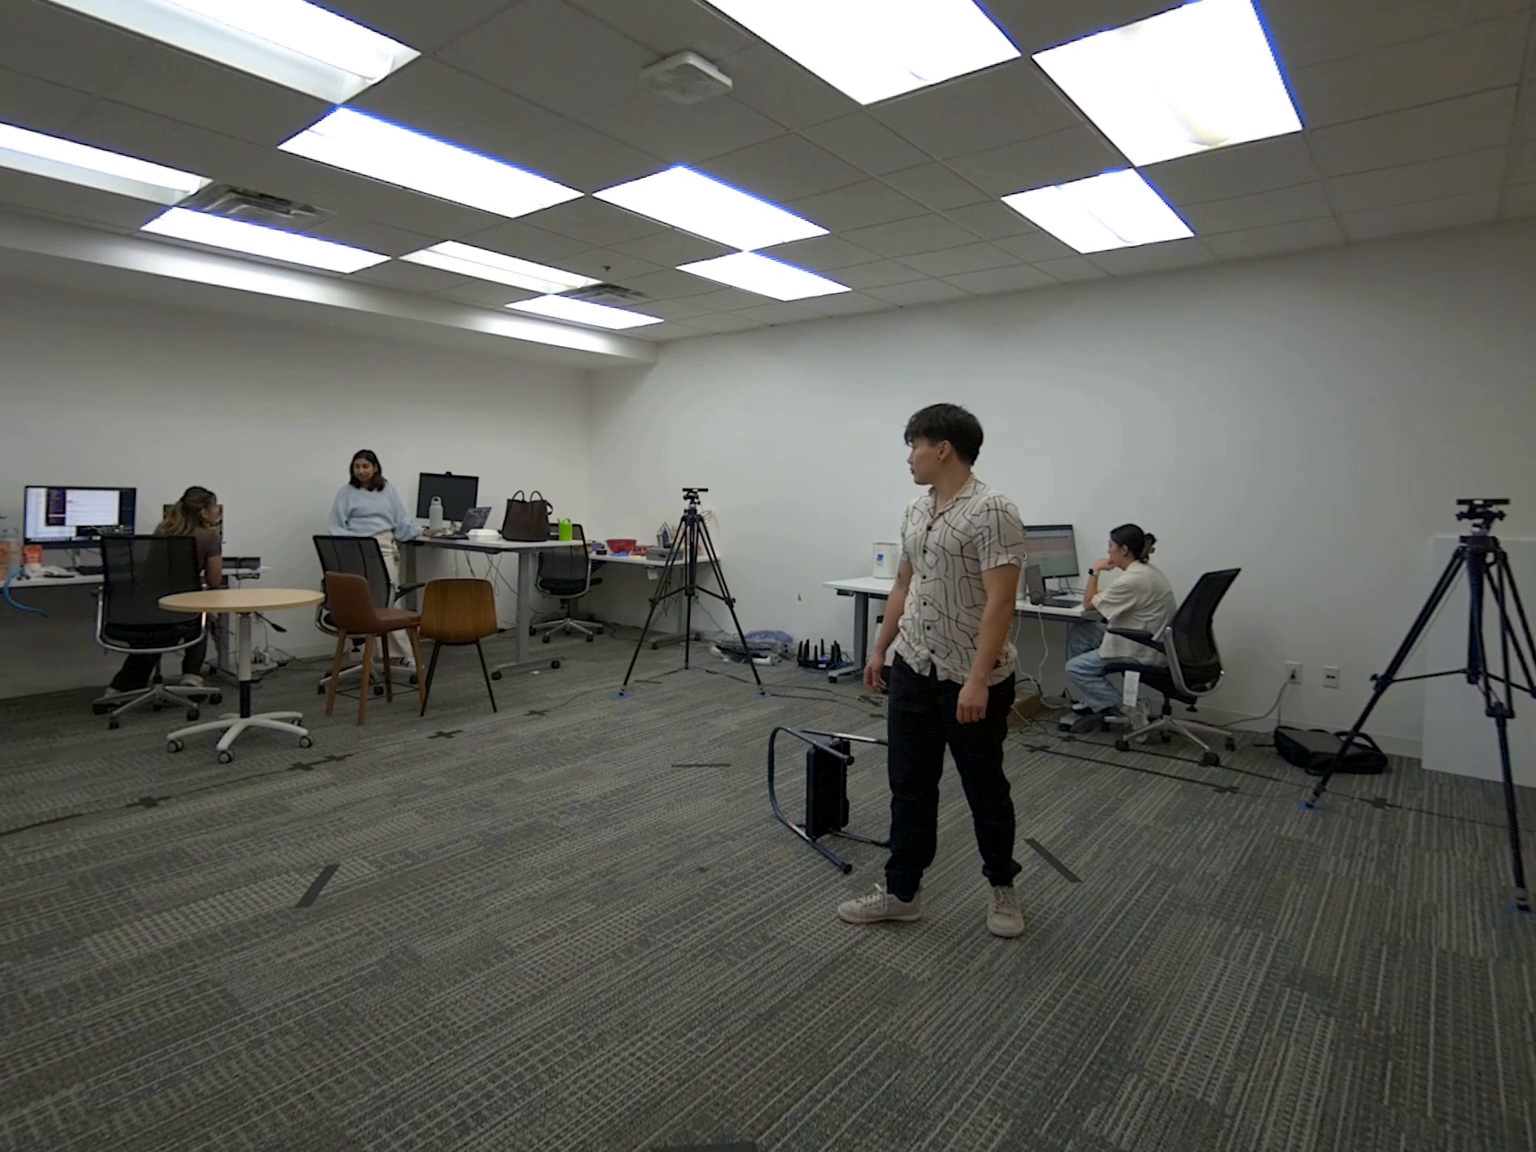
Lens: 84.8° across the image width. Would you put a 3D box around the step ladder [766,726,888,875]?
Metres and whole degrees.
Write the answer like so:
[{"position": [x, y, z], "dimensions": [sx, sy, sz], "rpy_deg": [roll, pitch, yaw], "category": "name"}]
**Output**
[{"position": [0.169, 0.837, 3.419], "dimensions": [0.627, 0.430, 0.338], "rpy_deg": [5, 4, 44], "category": "step ladder"}]
